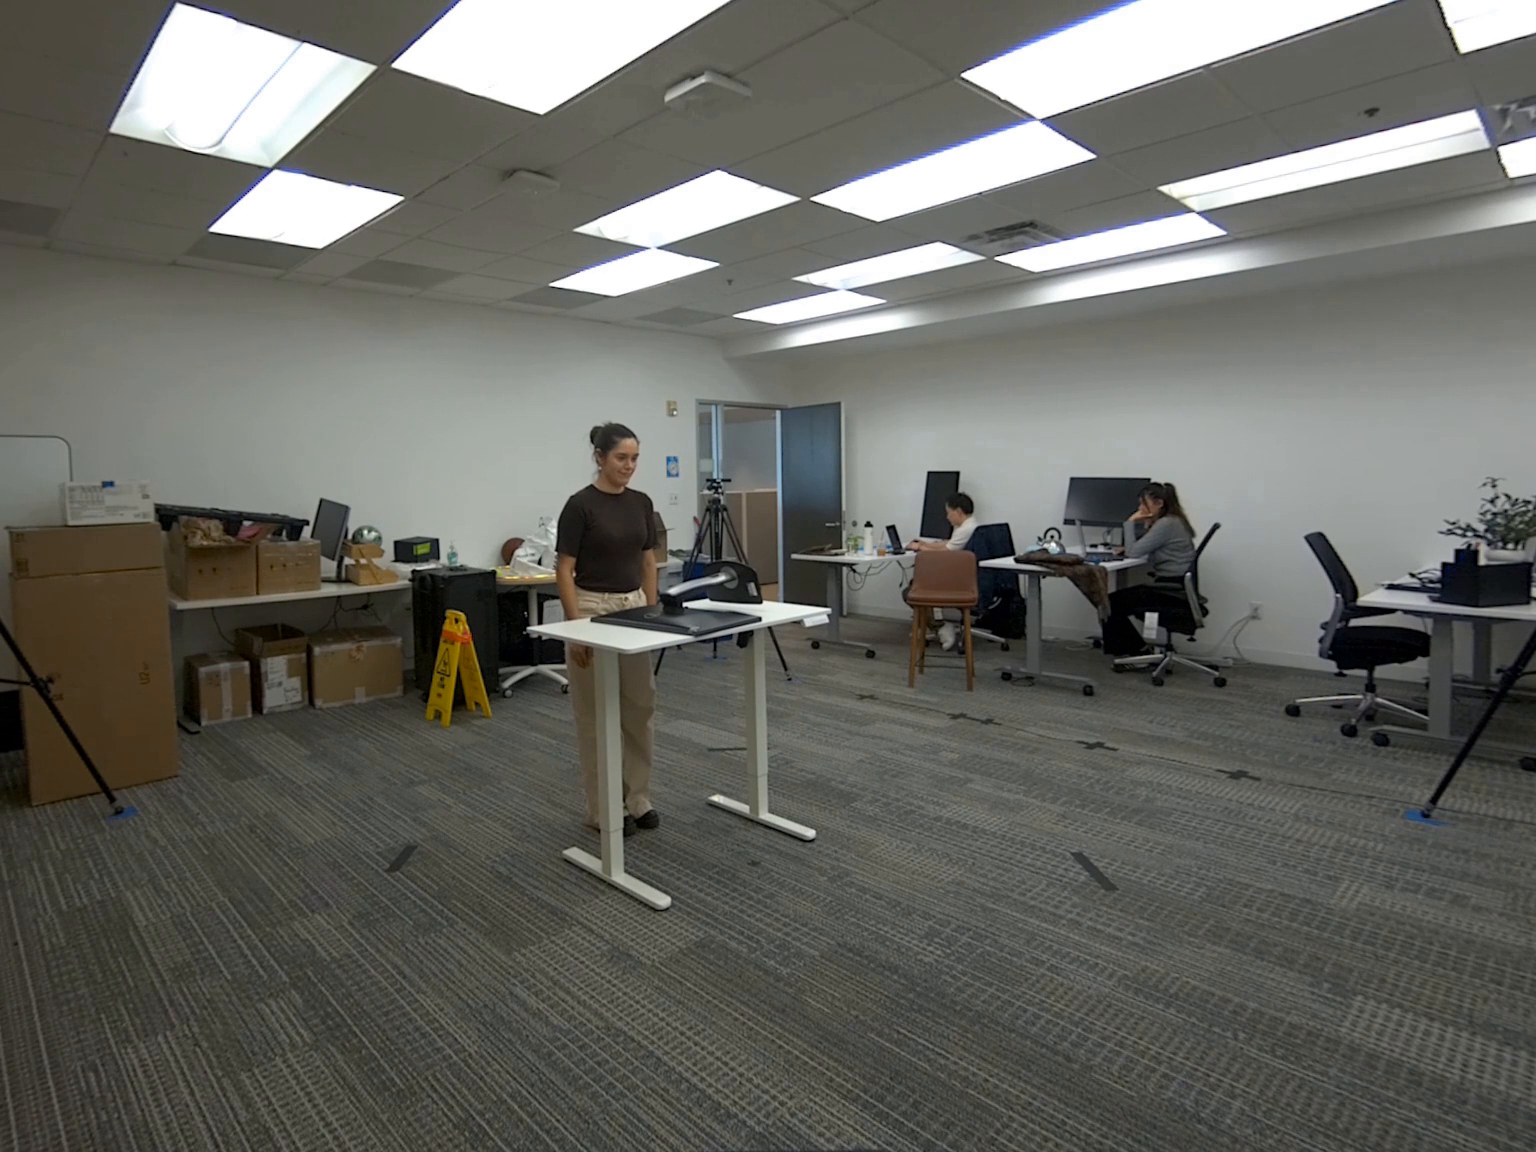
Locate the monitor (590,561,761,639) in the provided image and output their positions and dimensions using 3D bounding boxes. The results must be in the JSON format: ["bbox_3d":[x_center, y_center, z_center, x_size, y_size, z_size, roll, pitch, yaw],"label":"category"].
[{"bbox_3d":[-0.282,0.106,3.167,0.555,0.184,0.515,1,19,40],"label":"monitor"}]
